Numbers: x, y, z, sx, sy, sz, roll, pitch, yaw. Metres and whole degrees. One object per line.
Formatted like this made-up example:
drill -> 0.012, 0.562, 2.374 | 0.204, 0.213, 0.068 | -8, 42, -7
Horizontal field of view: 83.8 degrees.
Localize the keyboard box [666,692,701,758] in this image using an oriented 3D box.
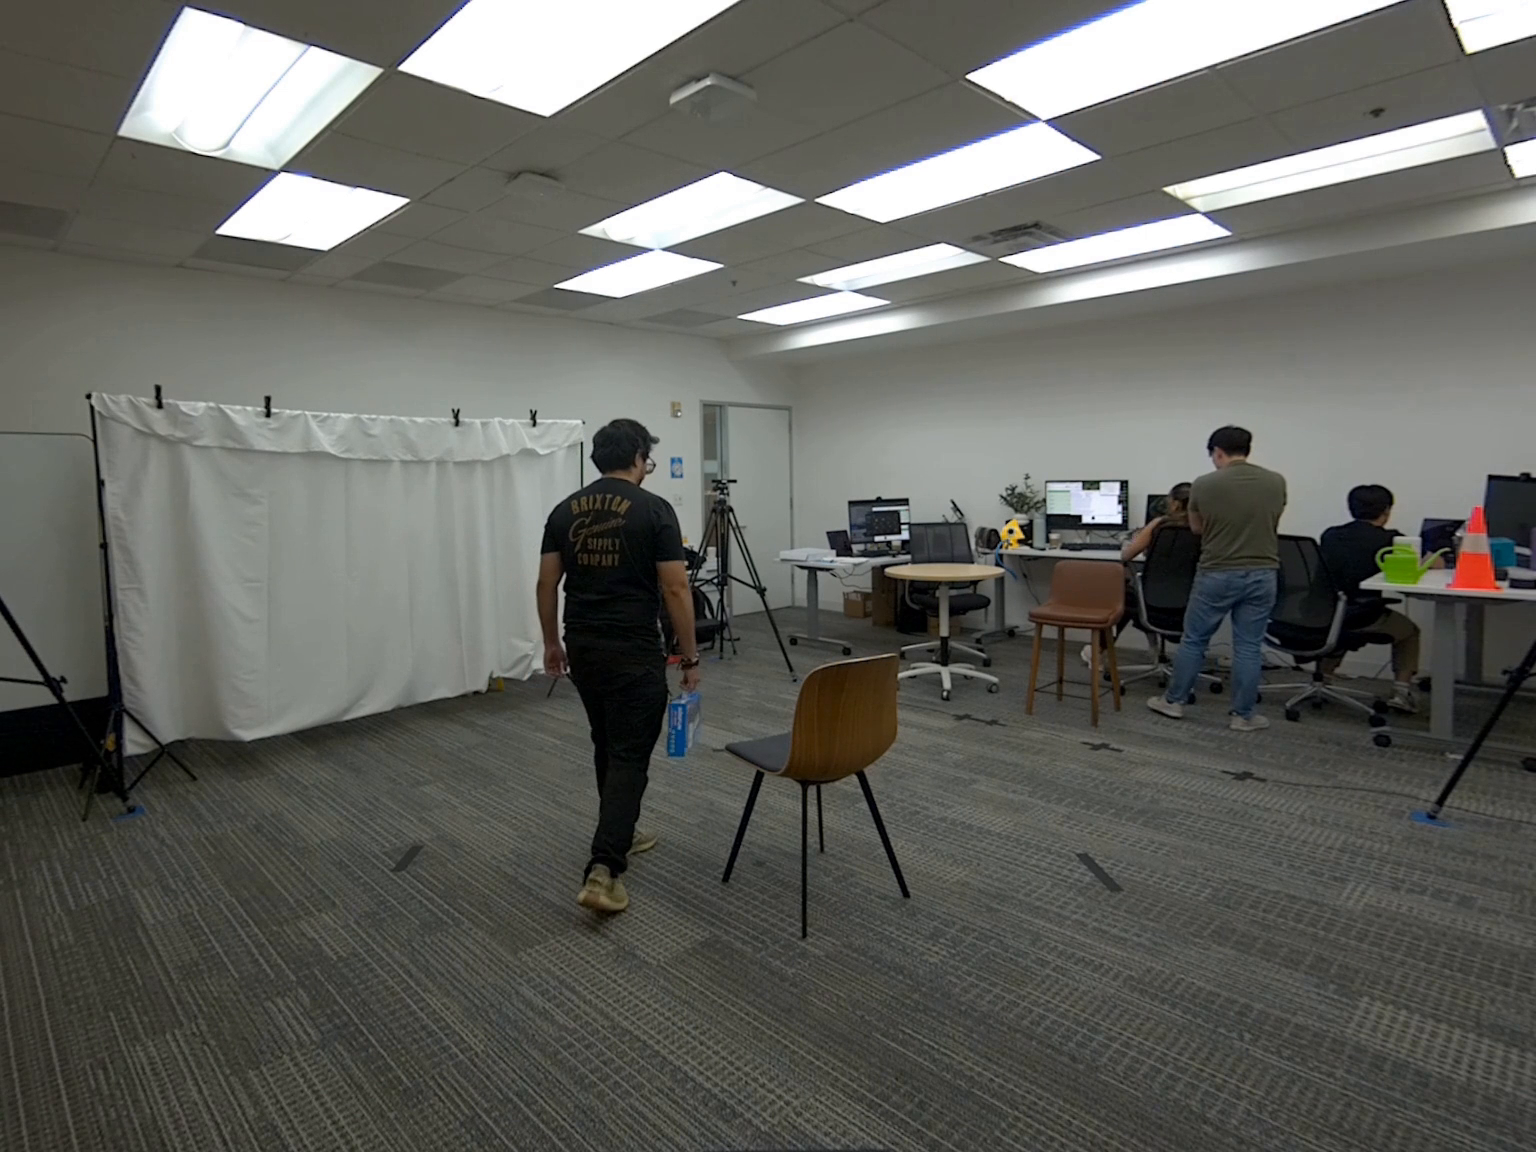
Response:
keyboard box -> -0.287, 0.504, 2.983 | 0.059, 0.176, 0.433 | 3, -2, 3
